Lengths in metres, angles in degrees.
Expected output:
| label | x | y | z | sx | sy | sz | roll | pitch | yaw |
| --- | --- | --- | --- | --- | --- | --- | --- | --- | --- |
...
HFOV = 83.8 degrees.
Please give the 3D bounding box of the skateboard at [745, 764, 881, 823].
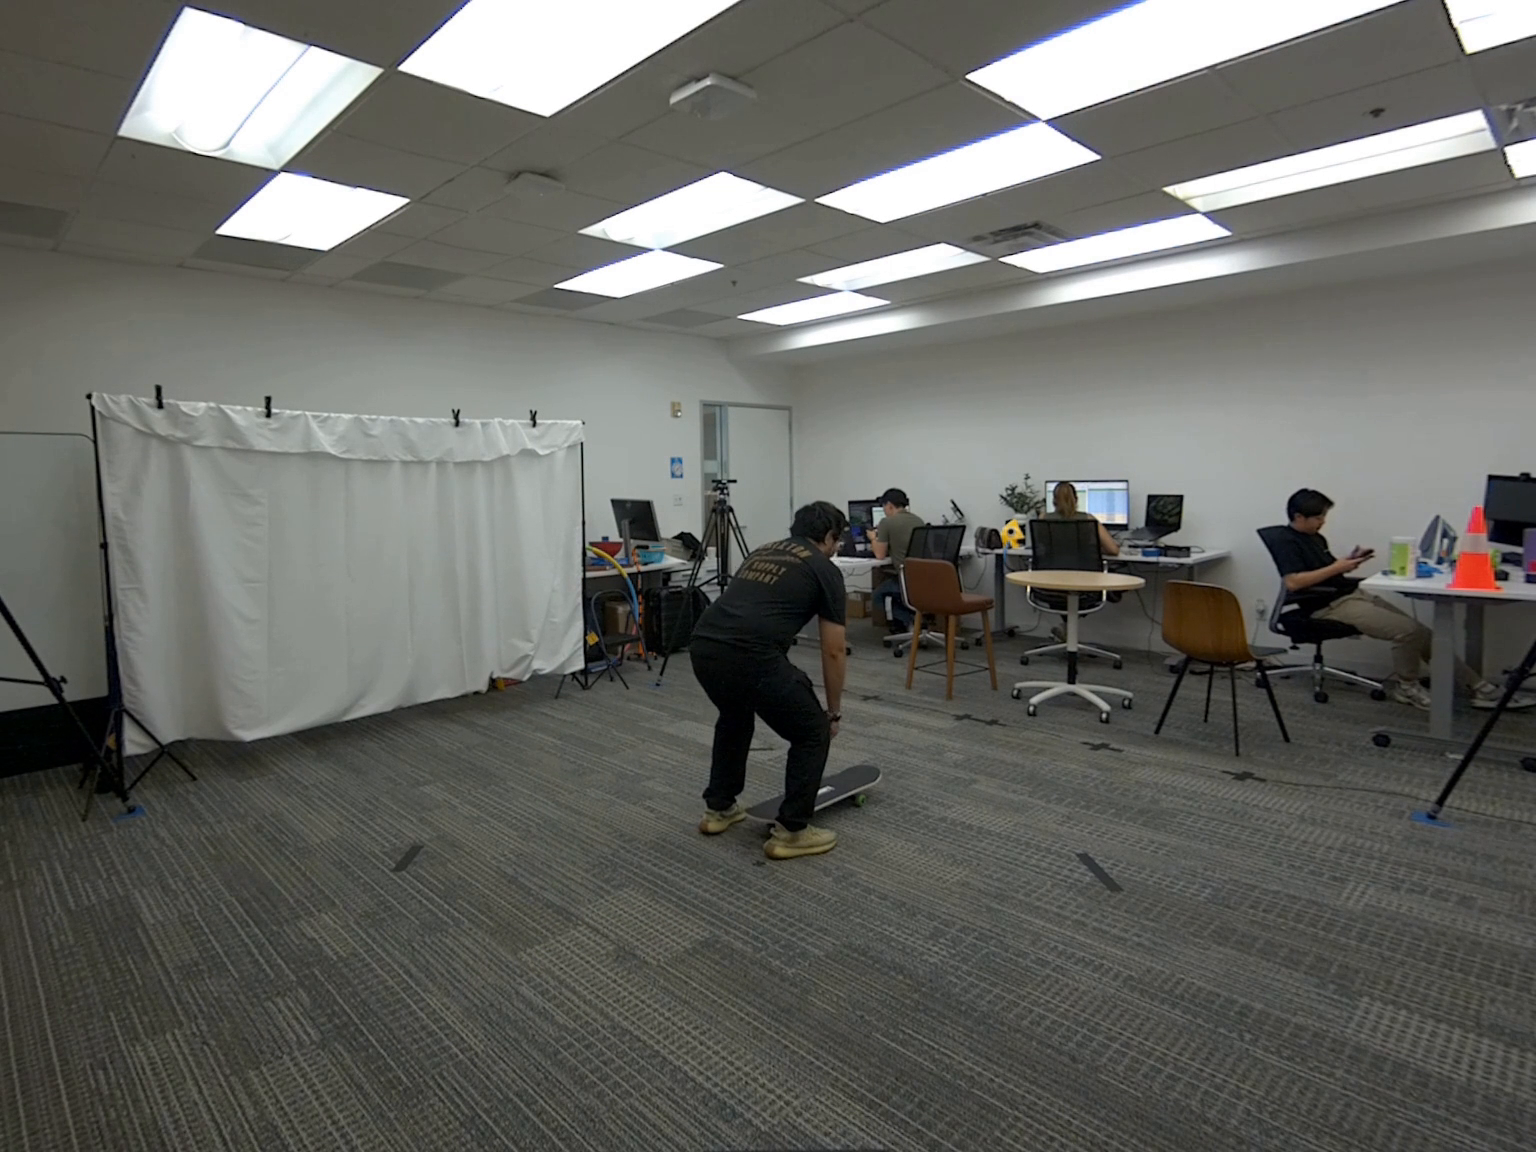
| label | x | y | z | sx | sy | sz | roll | pitch | yaw |
| --- | --- | --- | --- | --- | --- | --- | --- | --- | --- |
| skateboard | 0.205 | 0.939 | 3.558 | 0.199 | 0.110 | 0.765 | 5 | 9 | 44 |
